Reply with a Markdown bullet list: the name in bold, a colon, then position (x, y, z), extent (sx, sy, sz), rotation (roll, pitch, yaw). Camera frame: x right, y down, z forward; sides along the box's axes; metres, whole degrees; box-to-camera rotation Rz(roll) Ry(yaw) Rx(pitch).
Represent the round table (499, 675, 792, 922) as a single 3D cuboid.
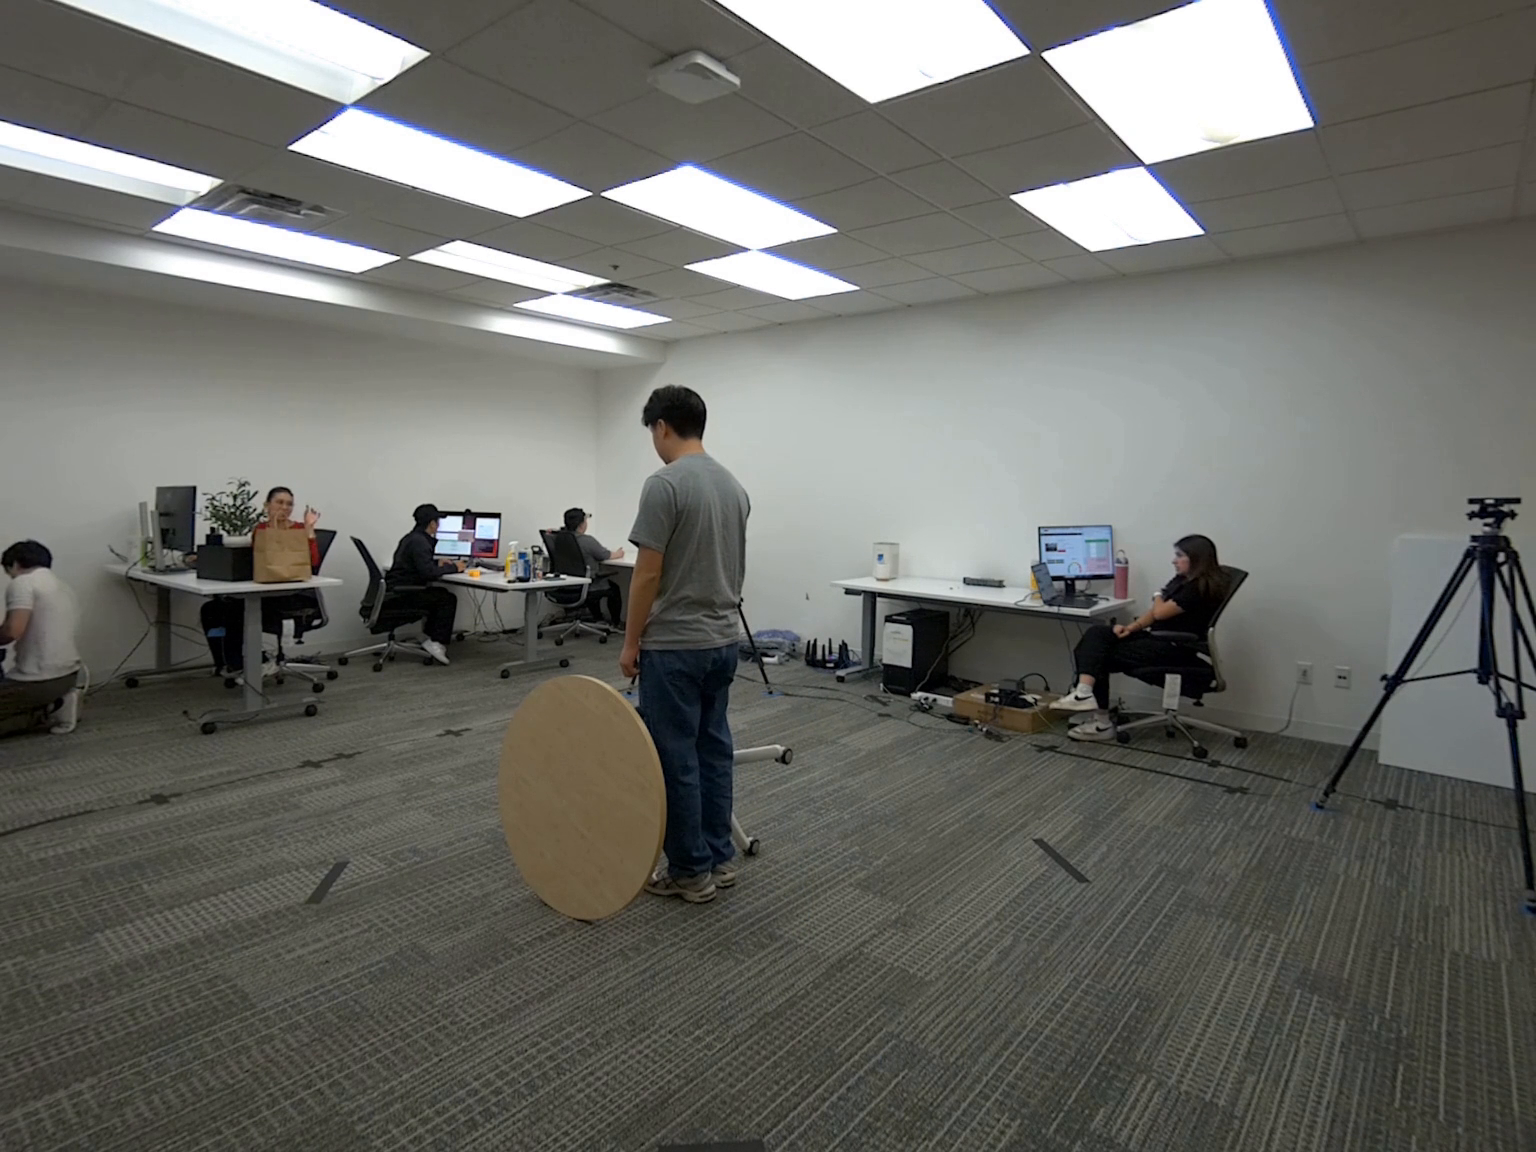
- **round table**: position (-0.433, 0.725, 3.083), extent (0.789, 0.765, 0.768), rotation (4, -1, 36)
